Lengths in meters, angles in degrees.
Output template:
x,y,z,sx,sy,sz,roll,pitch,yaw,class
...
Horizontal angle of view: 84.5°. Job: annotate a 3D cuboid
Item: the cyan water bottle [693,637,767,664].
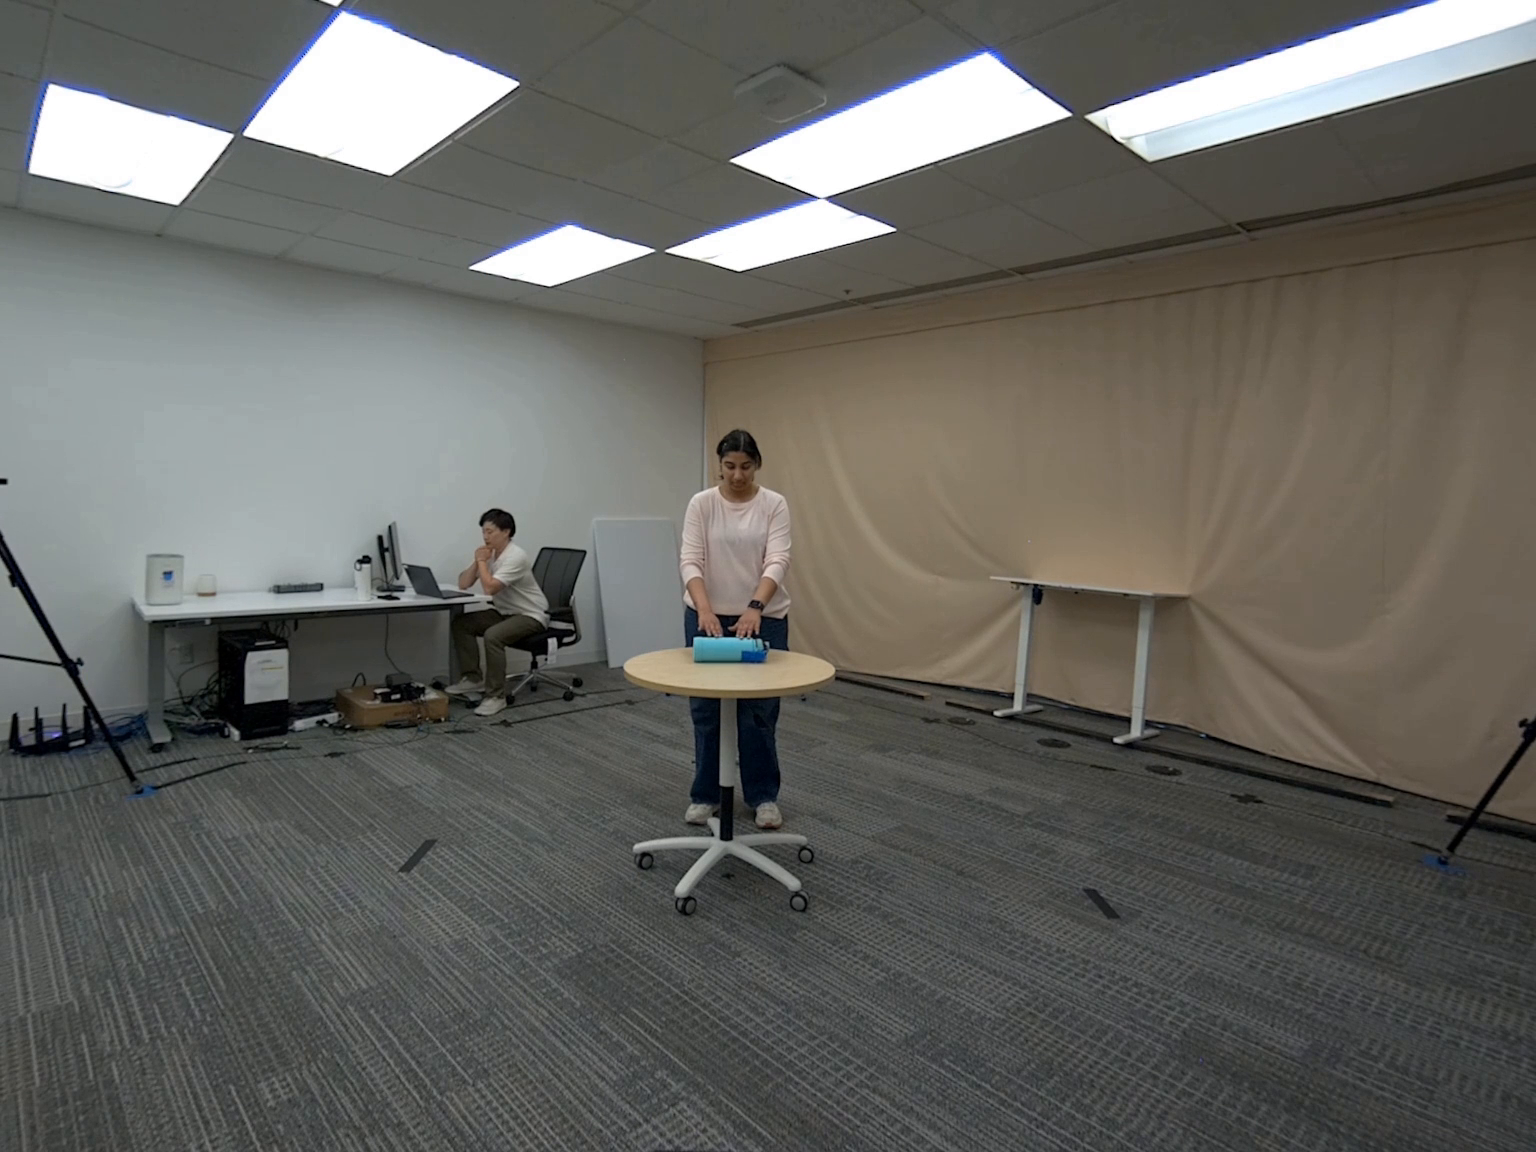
x,y,z,sx,sy,sz,roll,pitch,yaw,class
-0.148,0.275,3.130,0.283,0.092,0.093,1,4,-2,cyan water bottle
